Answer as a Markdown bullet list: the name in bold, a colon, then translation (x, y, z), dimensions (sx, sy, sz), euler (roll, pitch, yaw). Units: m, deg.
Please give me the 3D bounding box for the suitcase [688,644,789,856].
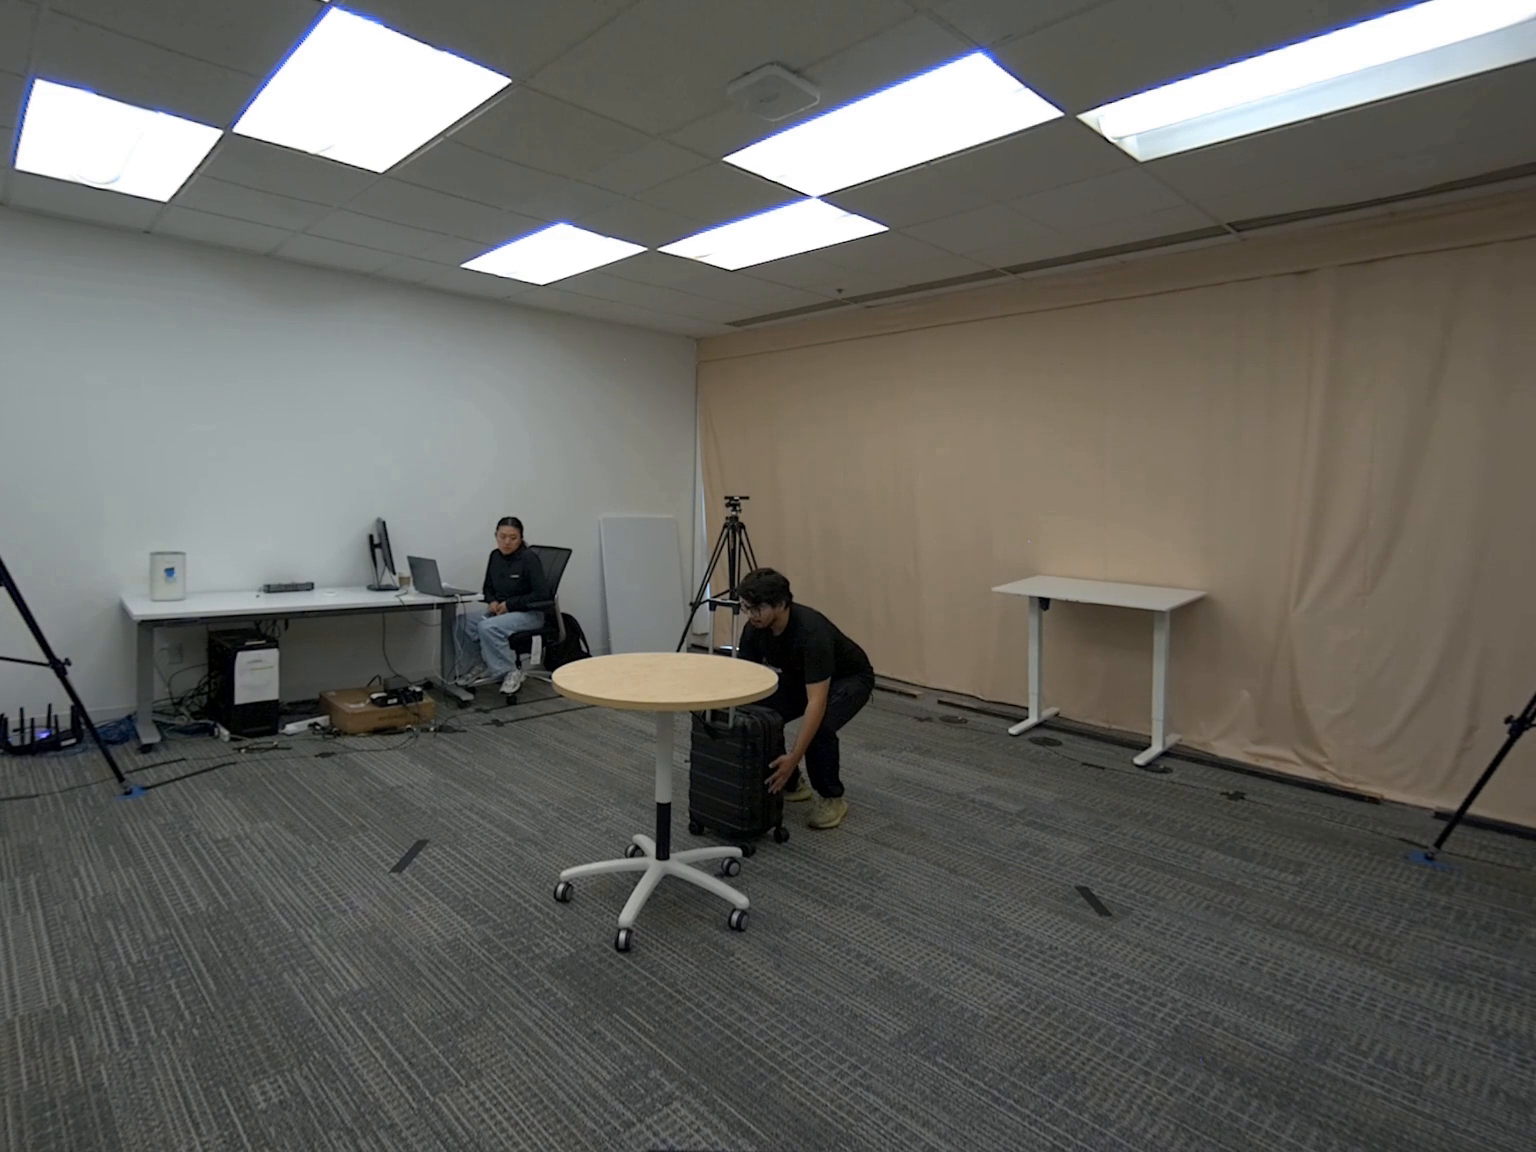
- **suitcase**: translation (-0.128, 0.591, 3.455), dimensions (0.393, 0.978, 0.251), euler (3, 1, 41)
